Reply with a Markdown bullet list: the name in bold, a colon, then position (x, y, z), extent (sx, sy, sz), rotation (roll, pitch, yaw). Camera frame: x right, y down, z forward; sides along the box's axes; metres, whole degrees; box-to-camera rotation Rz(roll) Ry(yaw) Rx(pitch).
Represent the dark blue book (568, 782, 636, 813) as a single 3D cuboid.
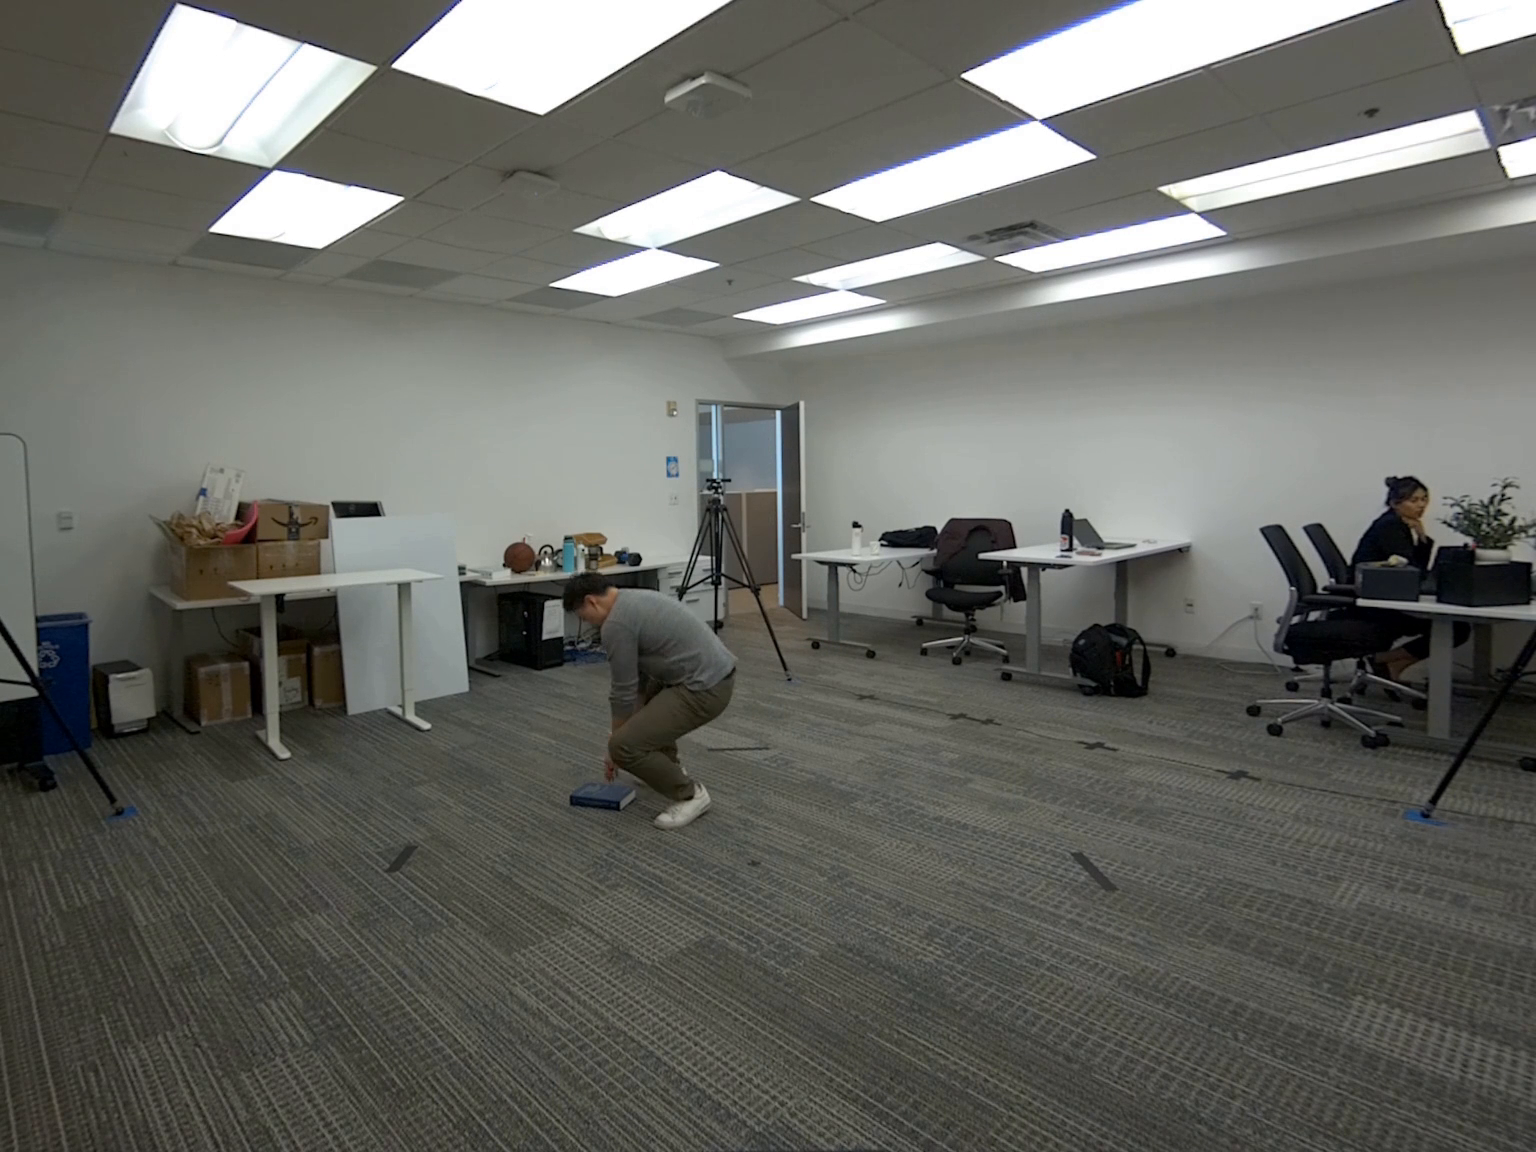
- **dark blue book**: position (-0.726, 0.964, 3.740), extent (0.249, 0.045, 0.161), rotation (3, 6, 17)
